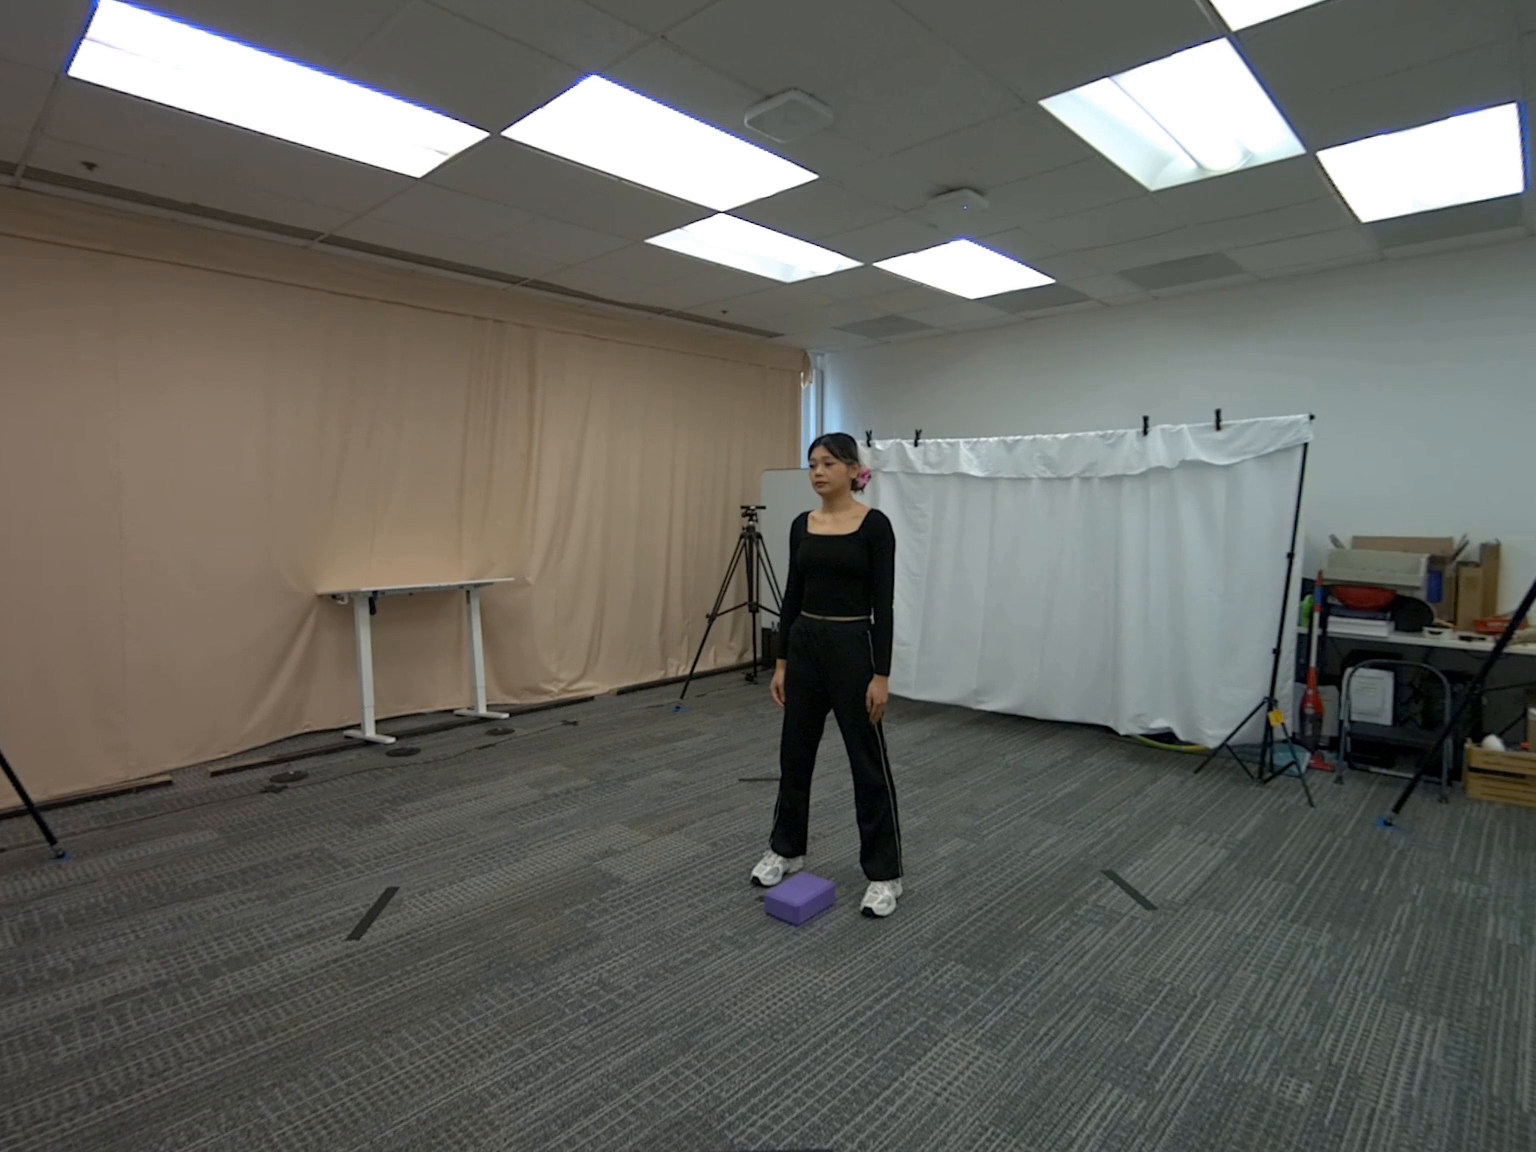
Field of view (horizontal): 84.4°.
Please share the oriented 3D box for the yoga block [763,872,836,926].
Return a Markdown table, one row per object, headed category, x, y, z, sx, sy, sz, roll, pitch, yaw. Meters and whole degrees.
| category | x | y | z | sx | sy | sz | roll | pitch | yaw |
| --- | --- | --- | --- | --- | --- | --- | --- | --- | --- |
| yoga block | 0.112 | 1.107 | 2.909 | 0.154 | 0.076 | 0.223 | 5 | 7 | 38 |
